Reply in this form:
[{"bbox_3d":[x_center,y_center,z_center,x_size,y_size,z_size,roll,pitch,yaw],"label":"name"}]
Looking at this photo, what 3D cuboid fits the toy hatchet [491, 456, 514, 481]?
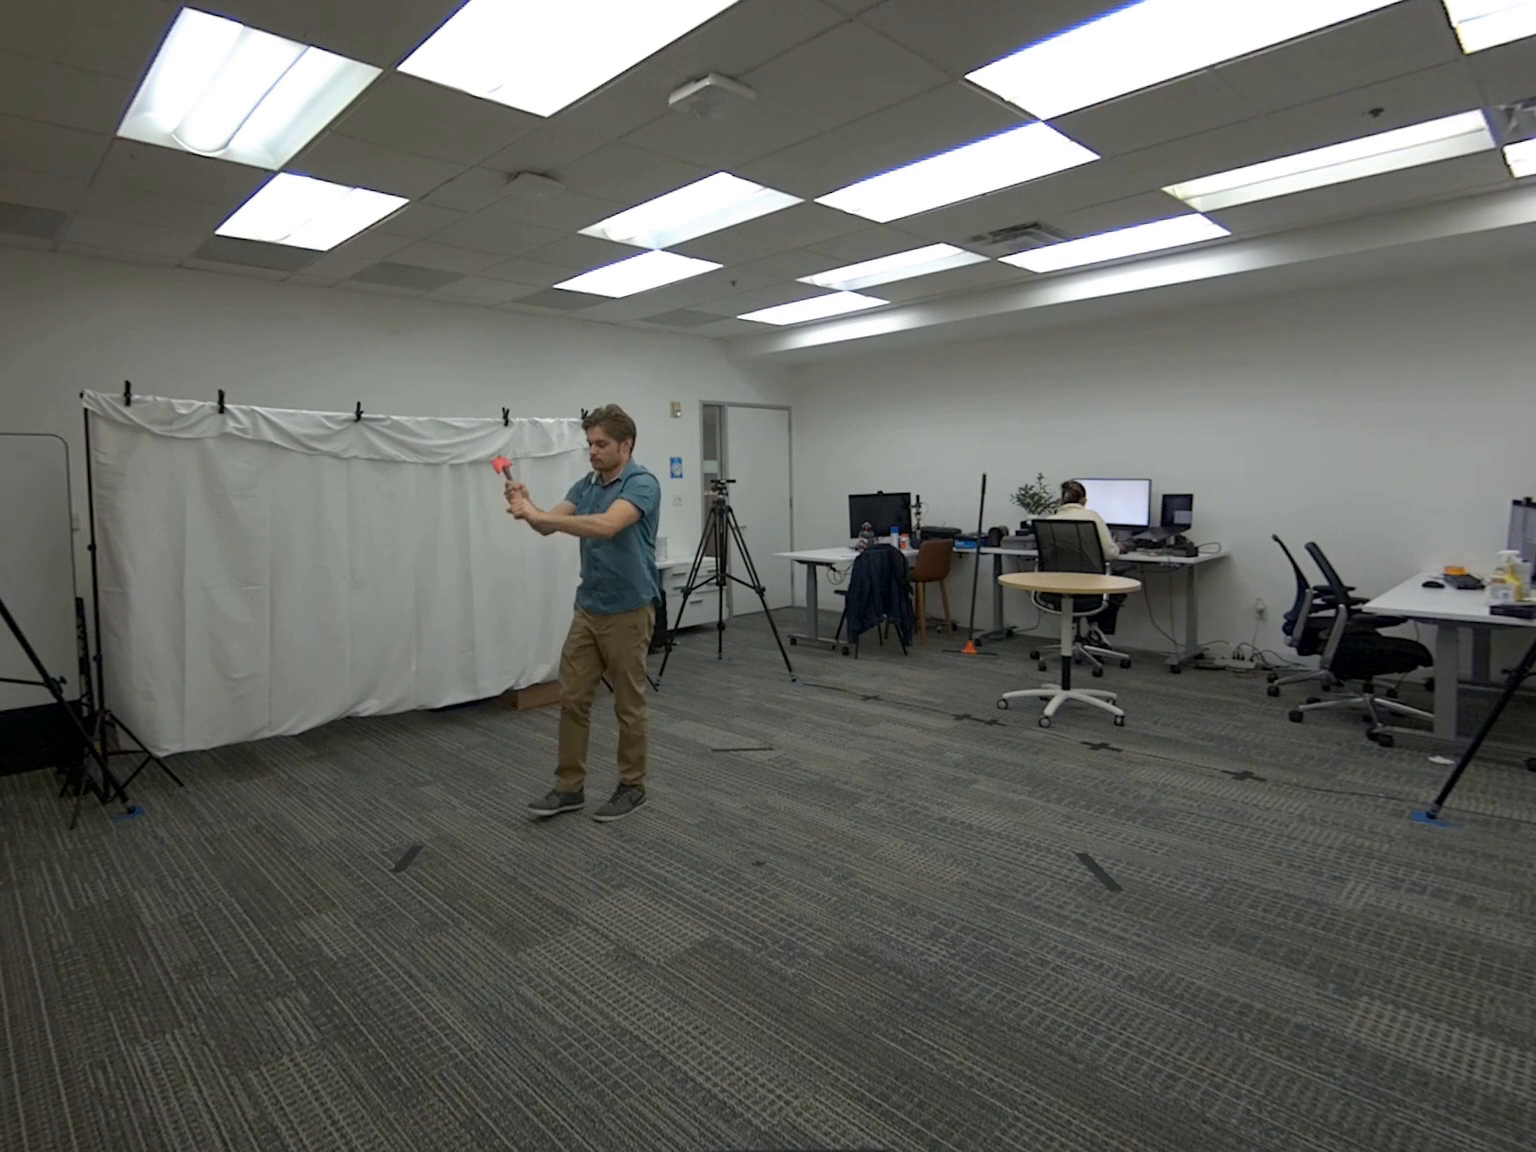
[{"bbox_3d":[-0.985,-0.356,3.242,0.030,0.279,0.126,-32,-33,13],"label":"toy hatchet"}]
